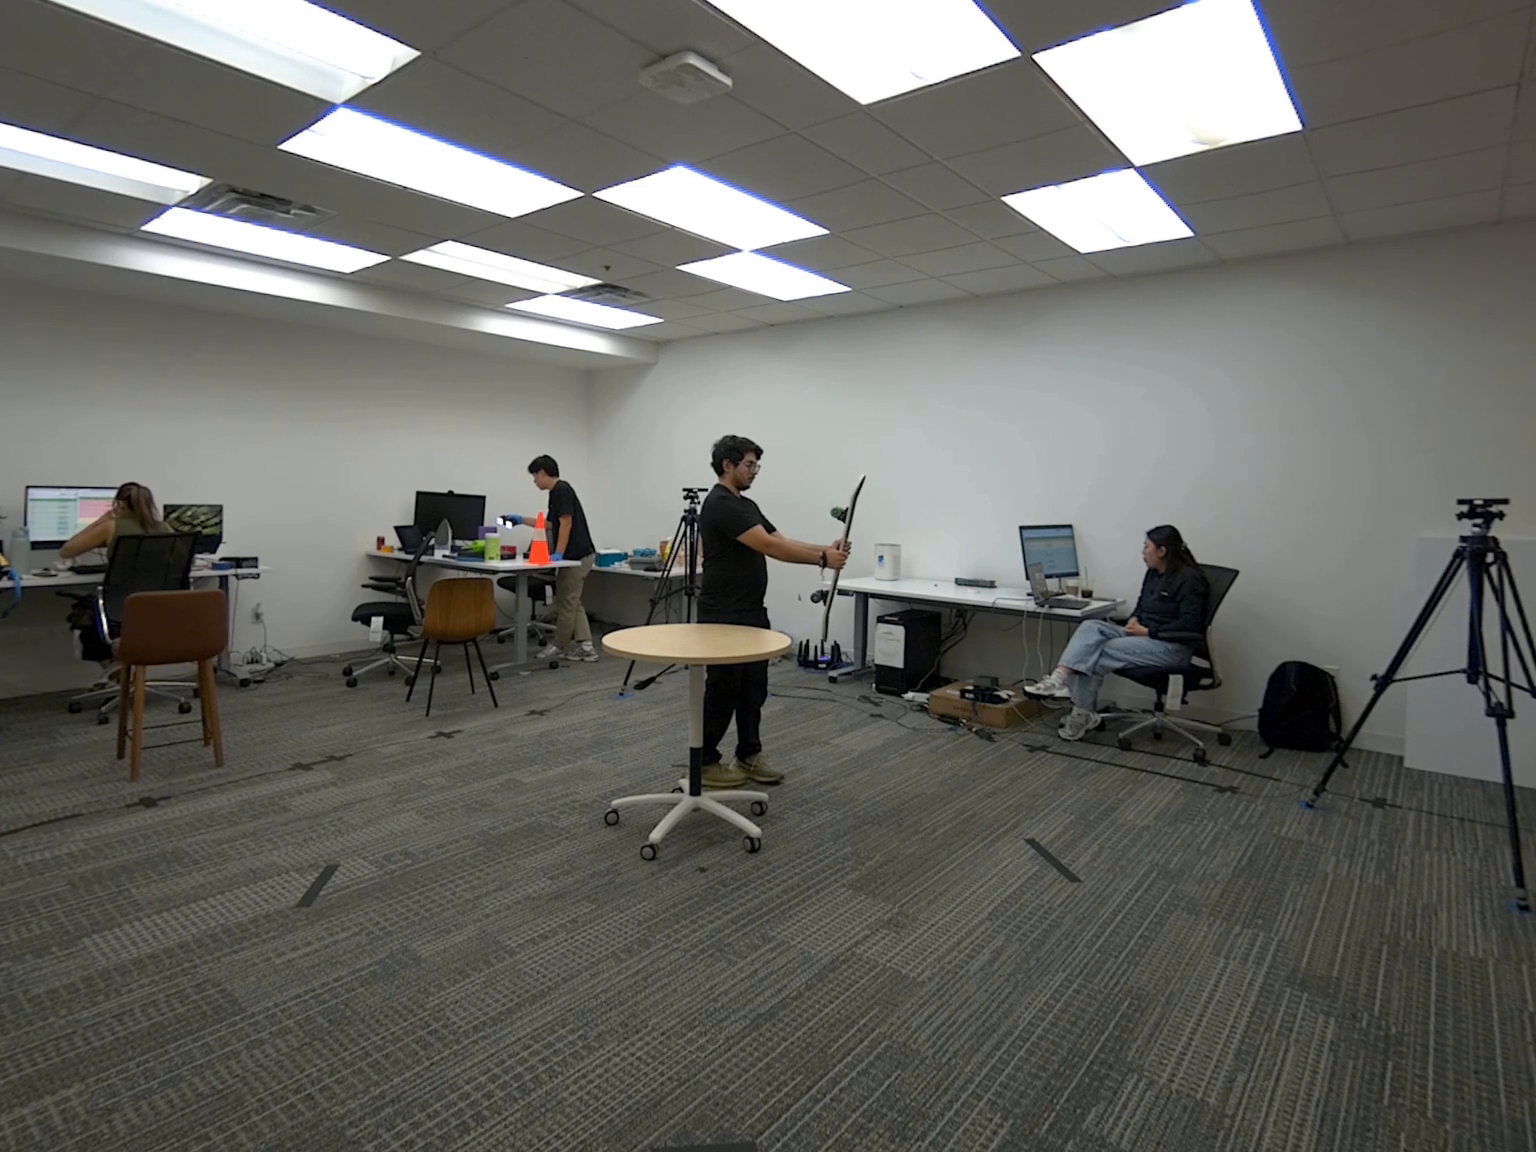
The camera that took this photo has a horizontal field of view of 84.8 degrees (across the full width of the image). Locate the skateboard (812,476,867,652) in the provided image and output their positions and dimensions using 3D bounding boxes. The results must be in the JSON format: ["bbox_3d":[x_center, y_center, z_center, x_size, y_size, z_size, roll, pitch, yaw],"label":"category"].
[{"bbox_3d":[0.295,-0.094,3.908,0.112,0.784,0.191,13,3,8],"label":"skateboard"}]
